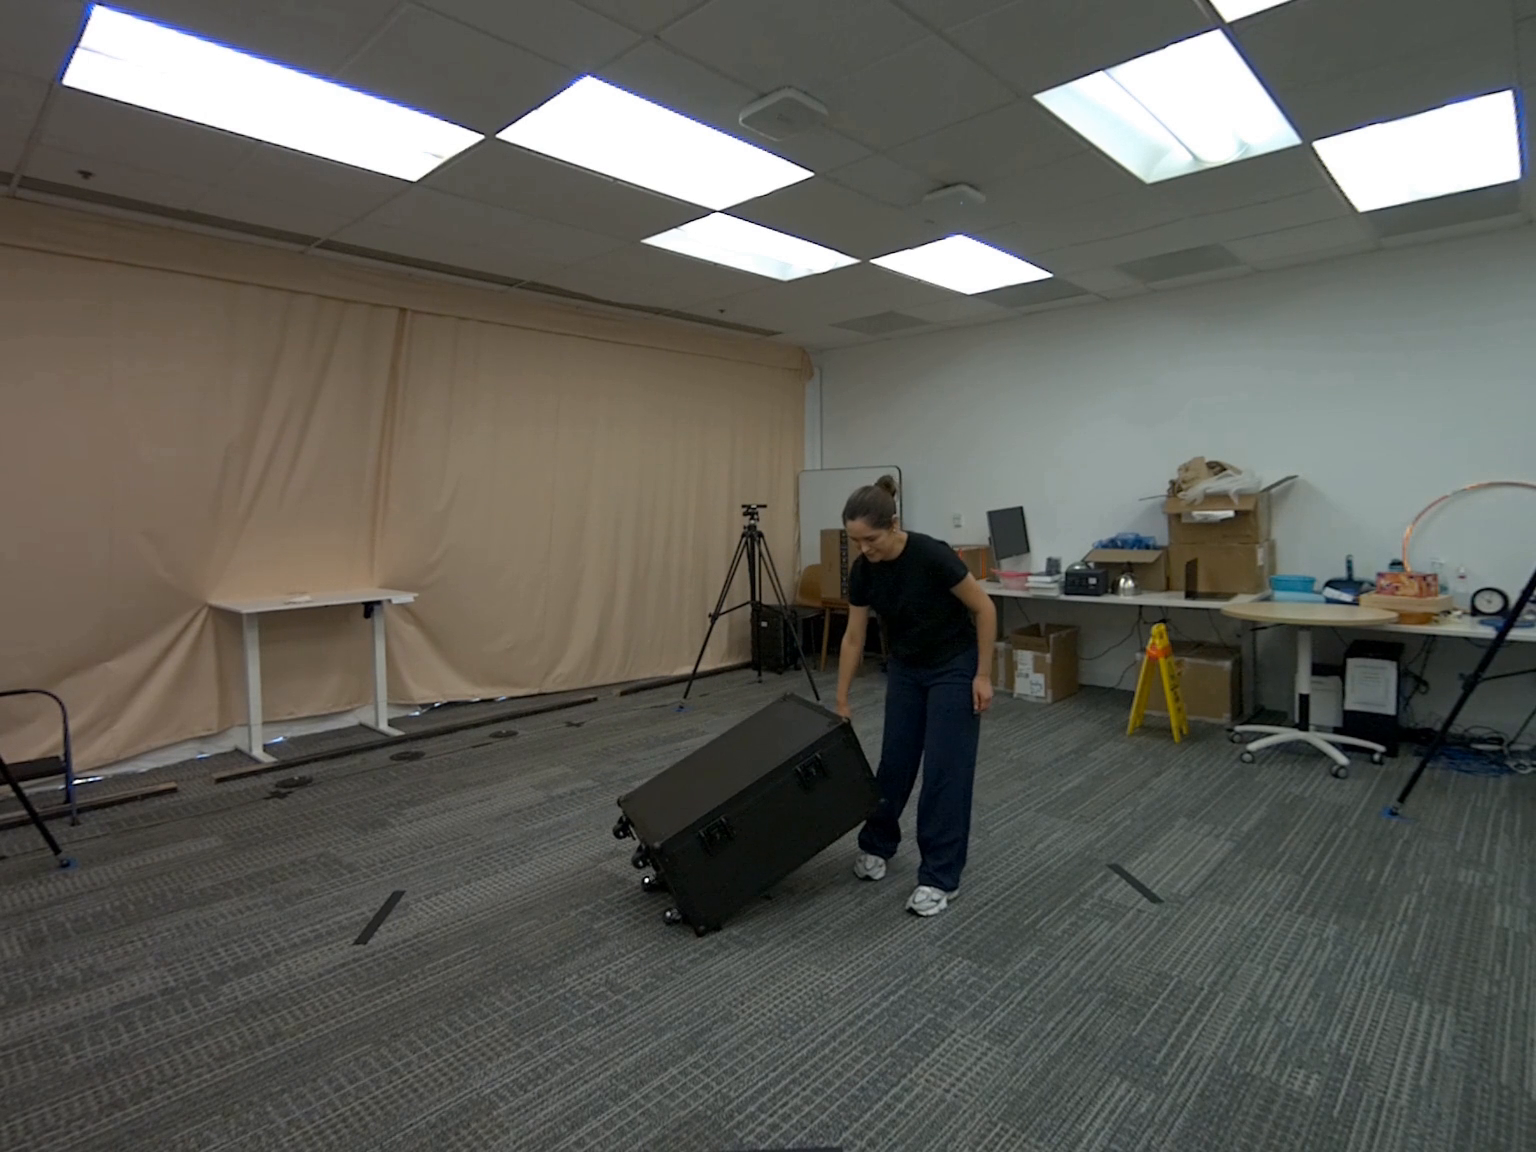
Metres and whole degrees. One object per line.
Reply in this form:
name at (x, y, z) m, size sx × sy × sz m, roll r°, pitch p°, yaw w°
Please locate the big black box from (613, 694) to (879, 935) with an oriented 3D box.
big black box at (-0.077, 0.834, 3.016) m, size 0.852 × 0.391 × 0.534 m, roll -29°, pitch 14°, yaw -18°
